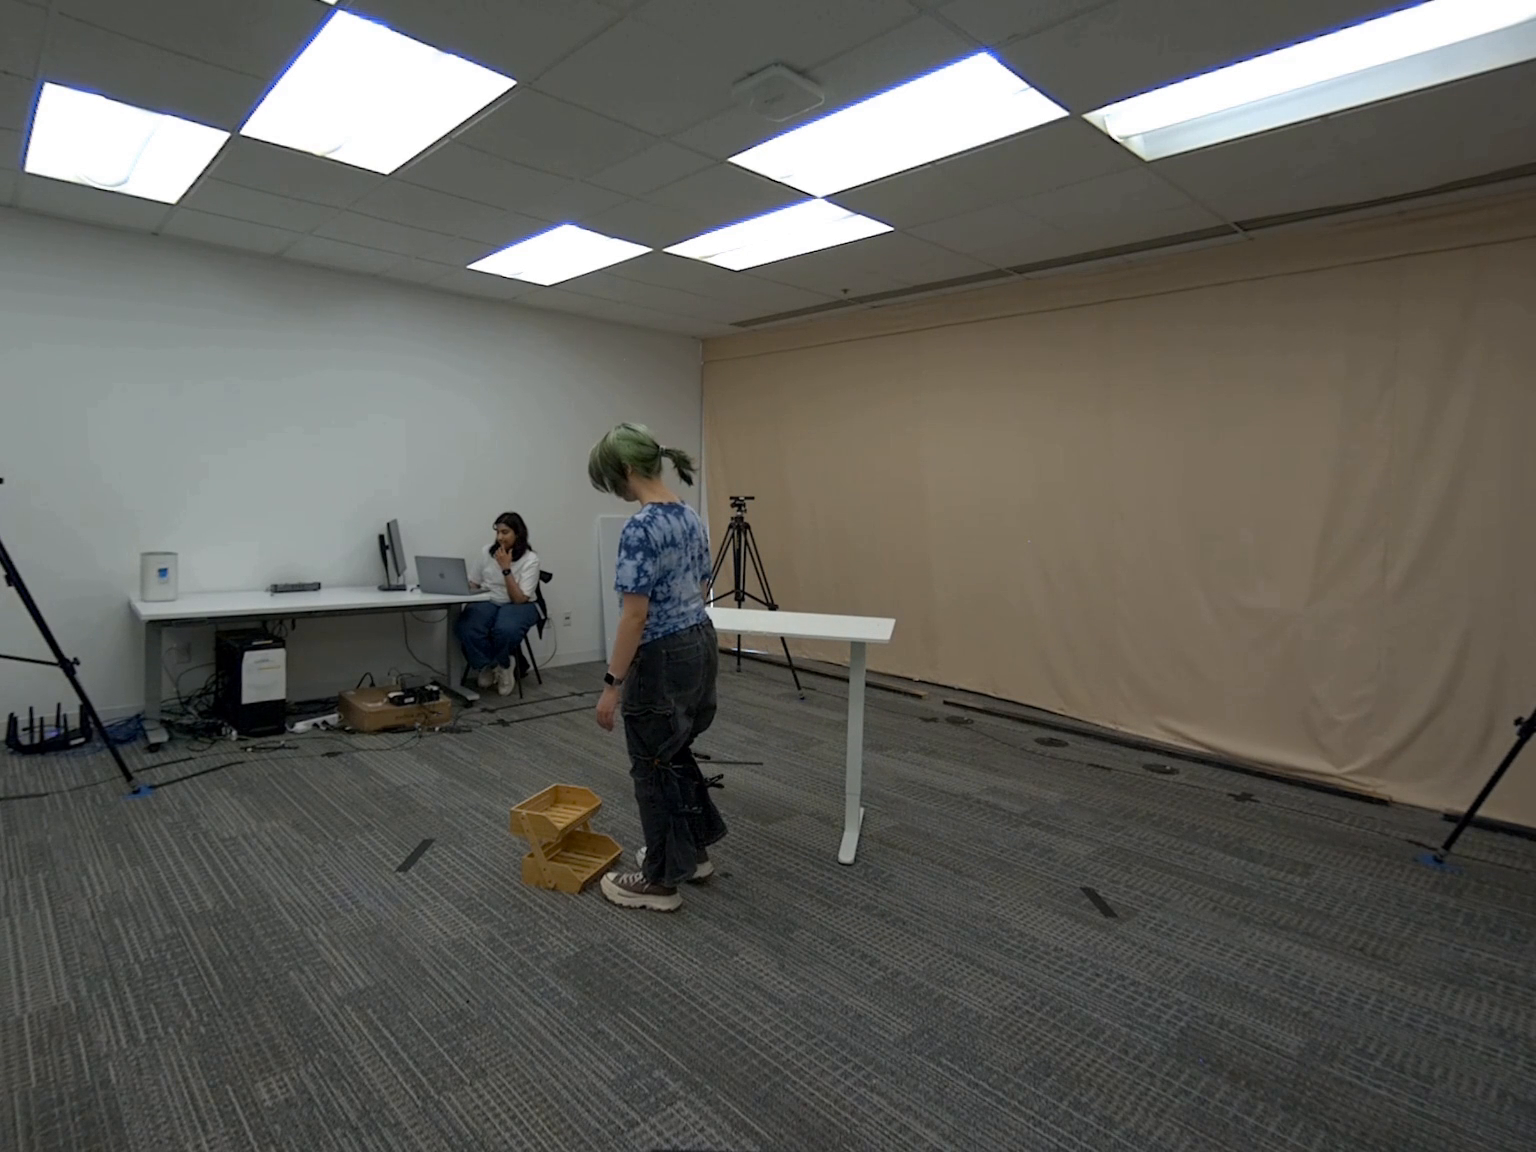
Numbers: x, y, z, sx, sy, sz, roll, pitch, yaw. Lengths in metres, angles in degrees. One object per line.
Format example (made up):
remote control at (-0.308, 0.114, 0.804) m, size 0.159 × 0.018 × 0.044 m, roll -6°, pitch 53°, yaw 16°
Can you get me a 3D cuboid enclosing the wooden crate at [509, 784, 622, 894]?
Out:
wooden crate at (-0.738, 0.955, 3.109) m, size 0.307 × 0.272 × 0.320 m, roll 3°, pitch 5°, yaw 19°
